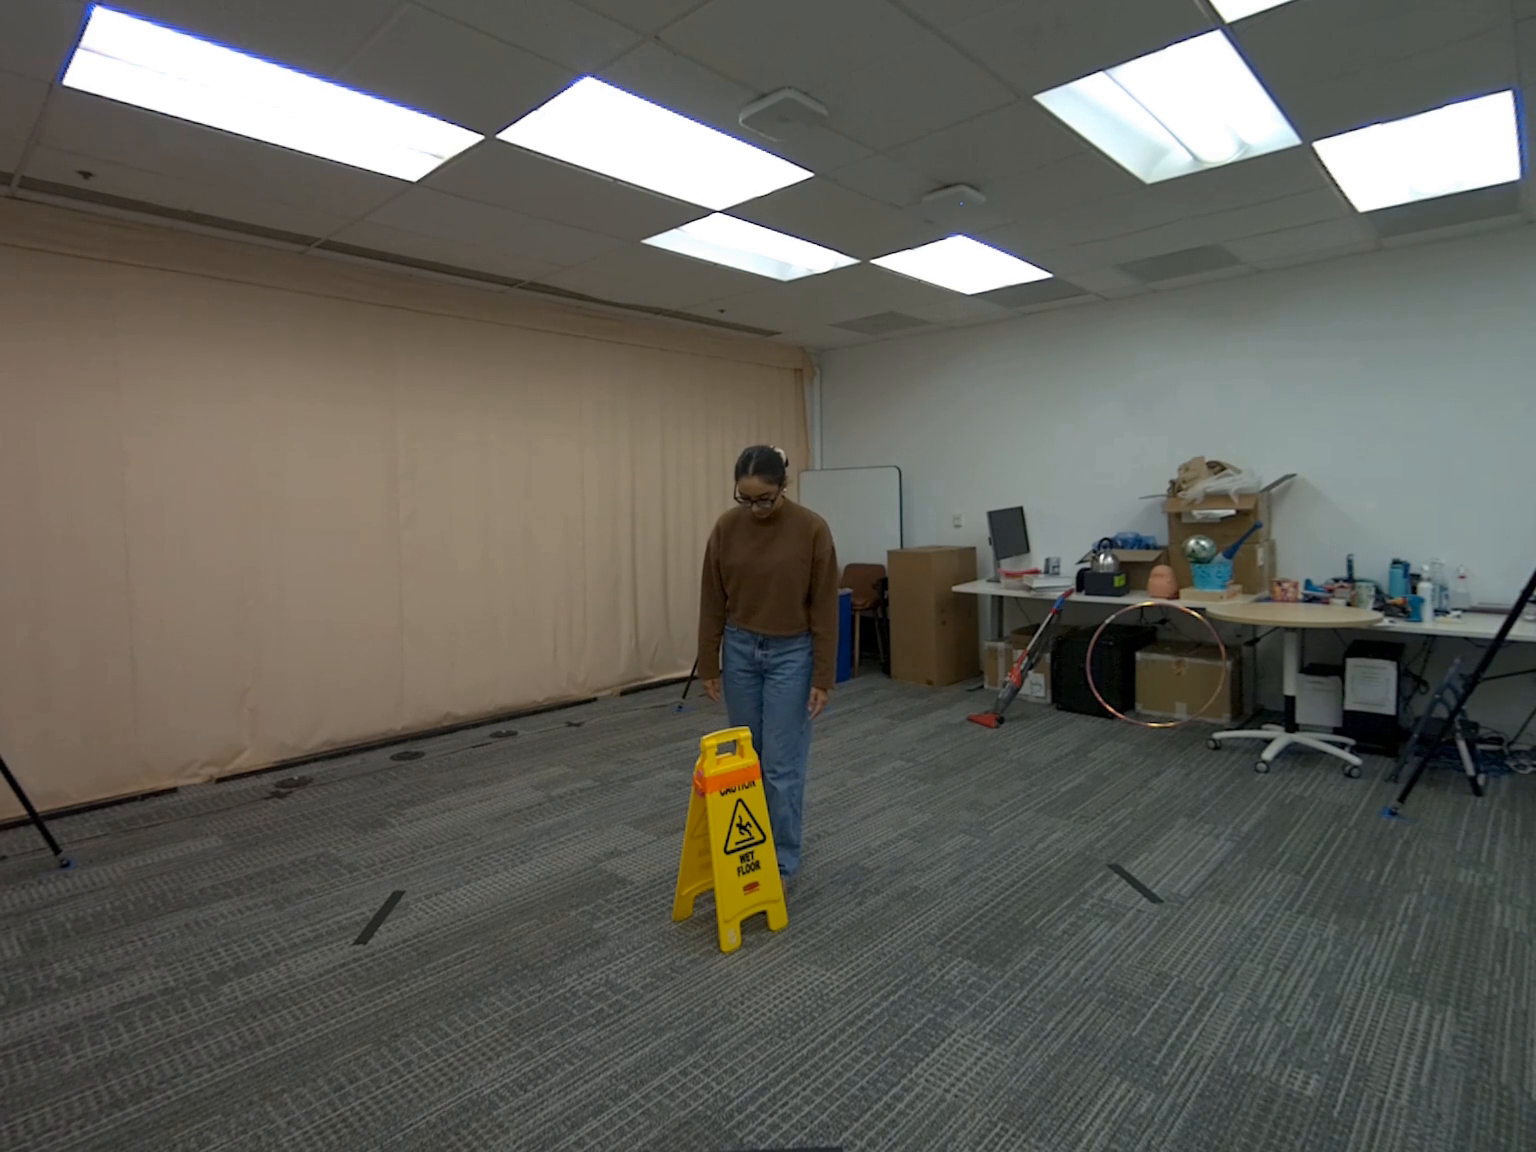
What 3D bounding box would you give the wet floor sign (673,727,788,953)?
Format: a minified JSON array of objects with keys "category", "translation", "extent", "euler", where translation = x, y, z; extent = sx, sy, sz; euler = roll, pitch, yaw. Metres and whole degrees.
[{"category":"wet floor sign","translation":[-0.136,0.834,2.792],"extent":[0.274,0.645,0.299],"euler":[-3,3,-41]}]
